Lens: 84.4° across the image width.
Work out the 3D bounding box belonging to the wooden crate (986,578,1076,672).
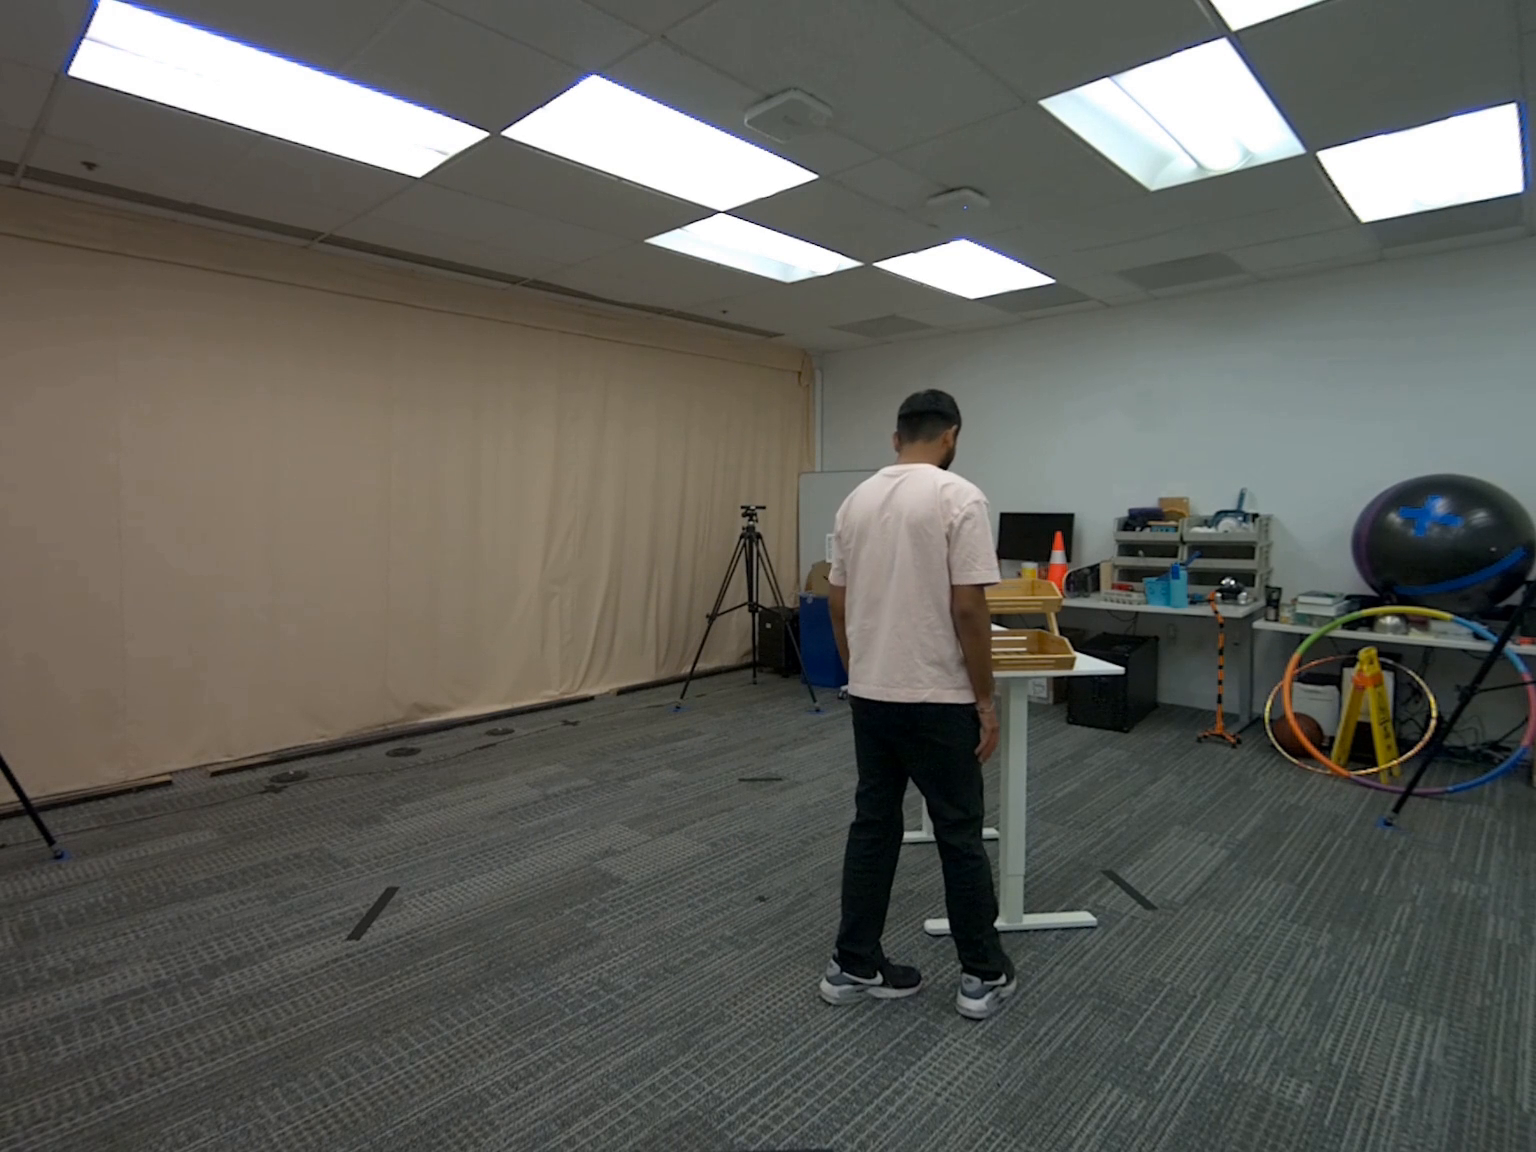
[{"bbox_3d":[0.802,0.156,2.716,0.322,0.273,0.304,-1,4,-6],"label":"wooden crate"}]
